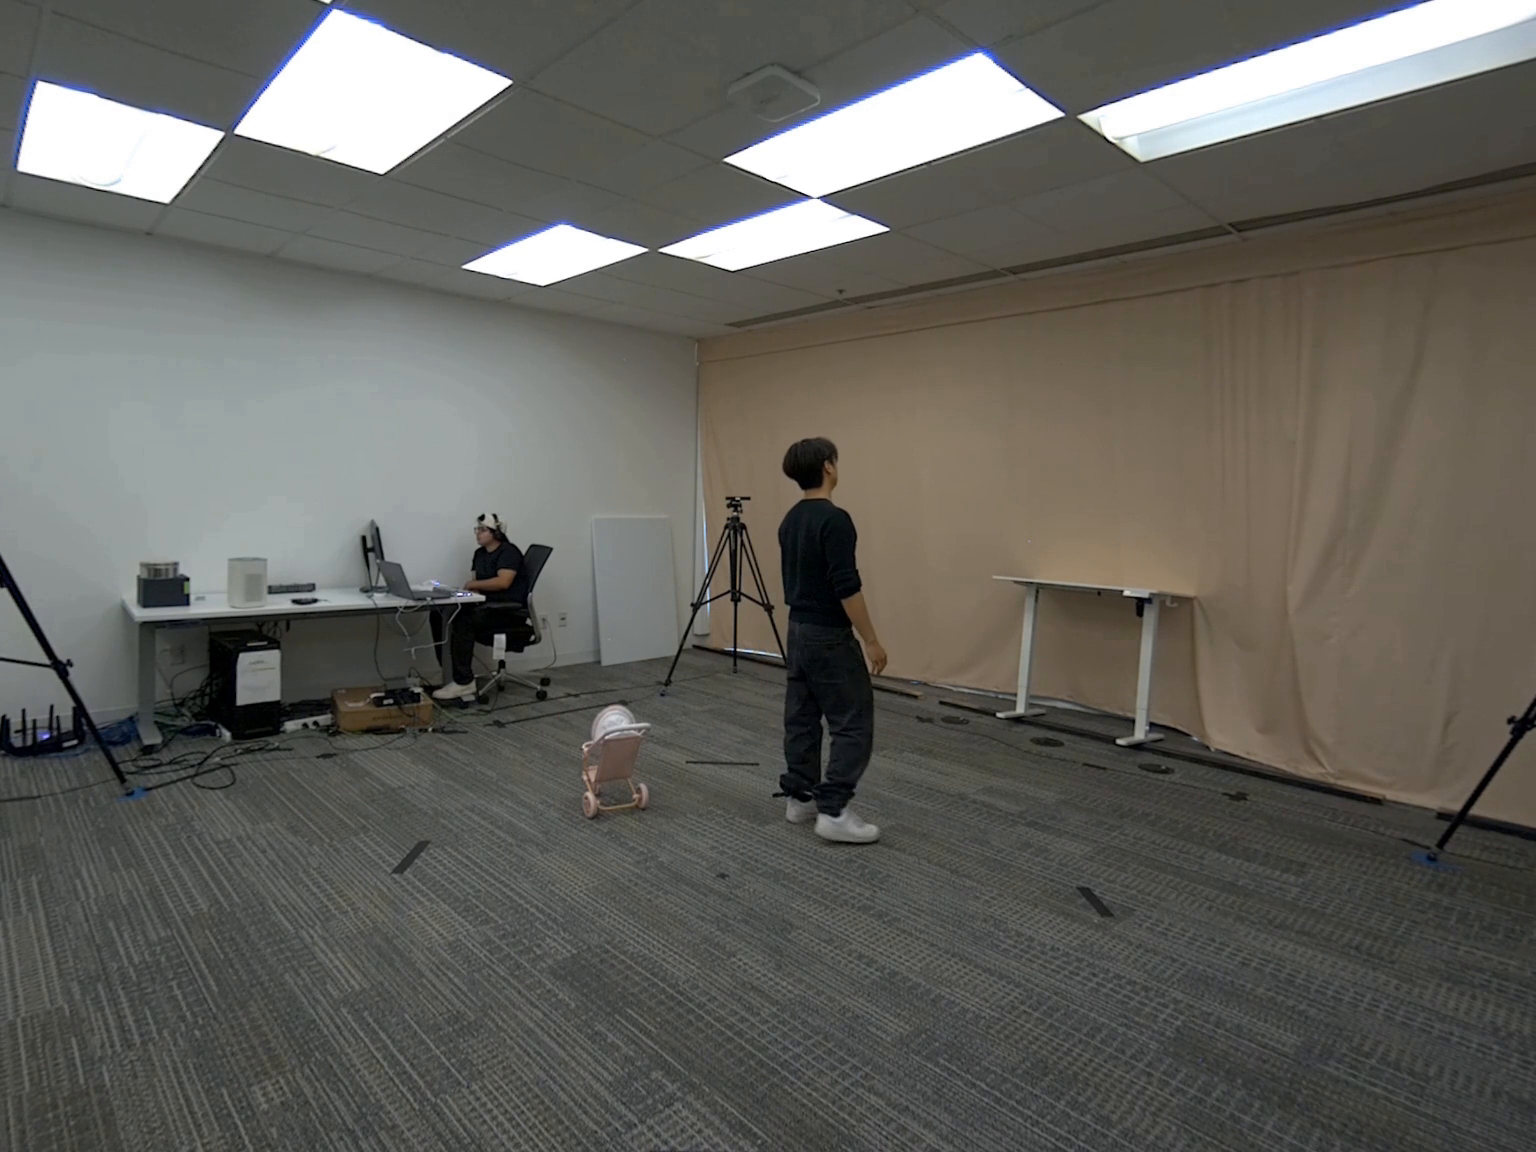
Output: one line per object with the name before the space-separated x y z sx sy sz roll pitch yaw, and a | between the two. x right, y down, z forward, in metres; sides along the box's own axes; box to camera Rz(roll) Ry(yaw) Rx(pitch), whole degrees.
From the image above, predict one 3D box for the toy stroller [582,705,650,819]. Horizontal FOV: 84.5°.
toy stroller | -0.698 0.809 3.747 0.276 0.529 0.351 0 21 -27
